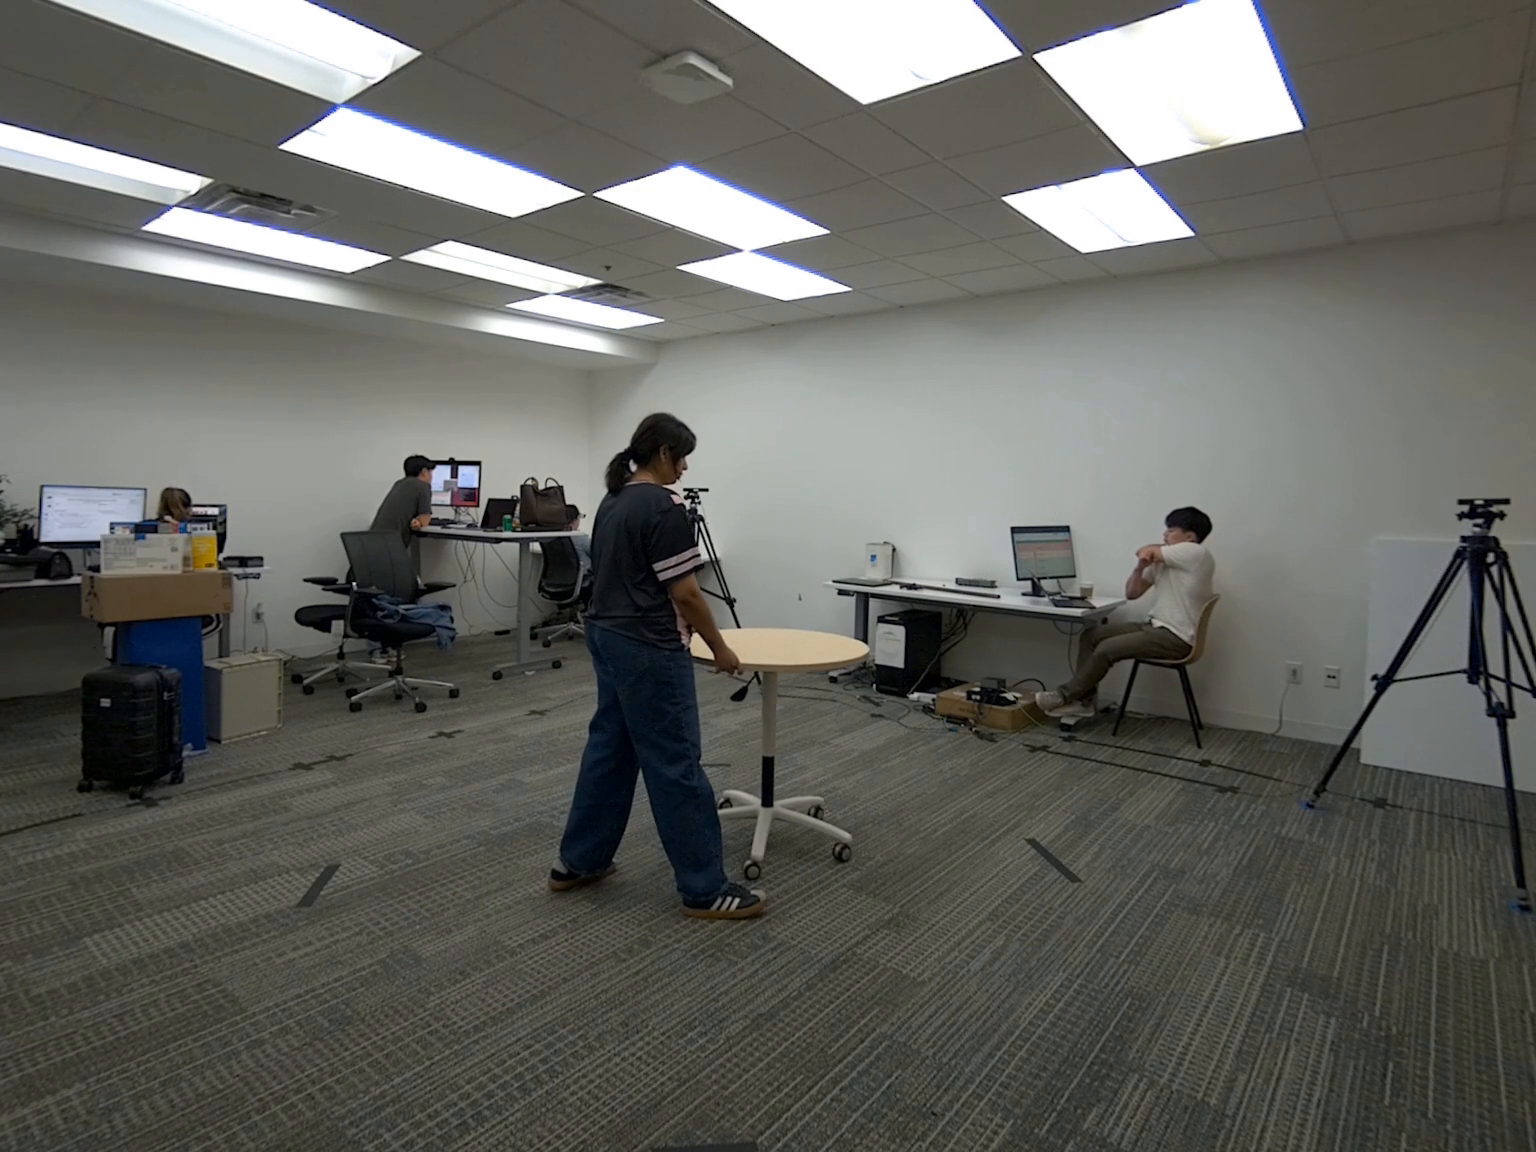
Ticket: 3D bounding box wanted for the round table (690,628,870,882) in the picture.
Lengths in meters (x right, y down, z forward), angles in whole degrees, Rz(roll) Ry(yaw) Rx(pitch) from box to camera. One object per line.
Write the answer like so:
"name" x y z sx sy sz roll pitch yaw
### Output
"round table" 0.003 0.654 3.368 0.784 0.784 0.789 1 4 -2
